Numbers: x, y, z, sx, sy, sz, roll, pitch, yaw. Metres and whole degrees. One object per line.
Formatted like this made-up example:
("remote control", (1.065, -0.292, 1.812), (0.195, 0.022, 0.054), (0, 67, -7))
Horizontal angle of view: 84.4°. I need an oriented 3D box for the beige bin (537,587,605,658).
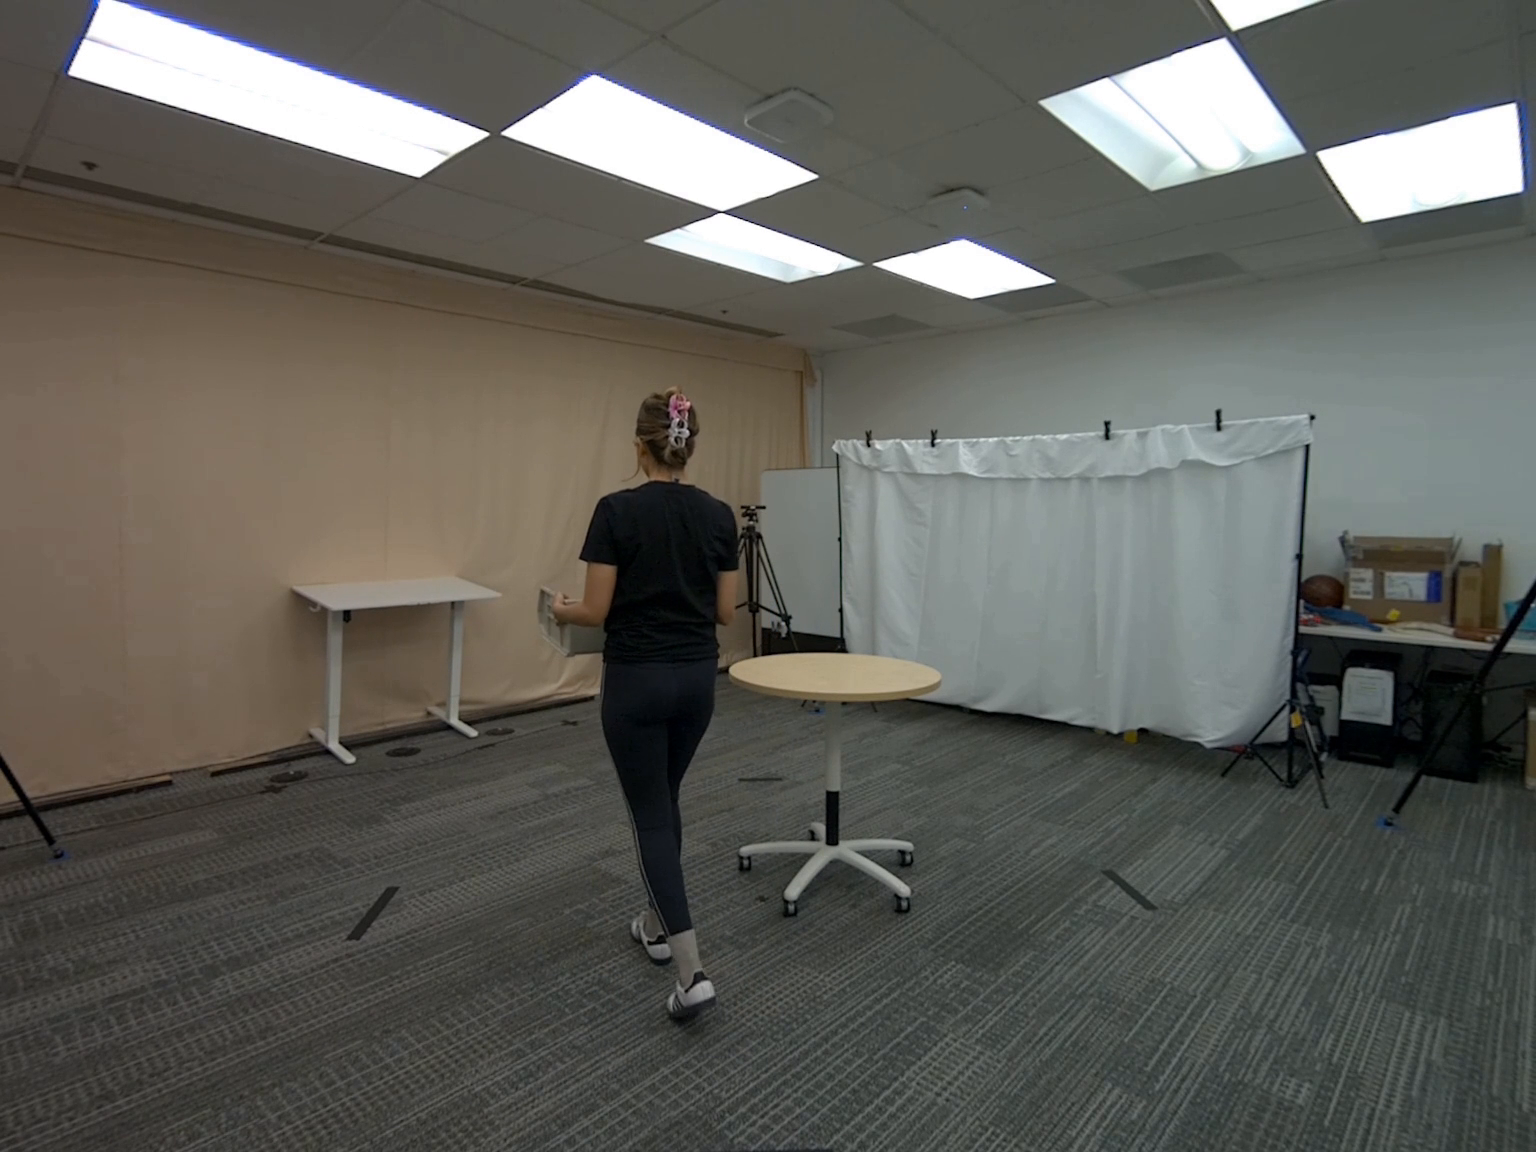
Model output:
("beige bin", (-0.528, 0.139, 2.835), (0.412, 0.188, 0.389), (-1, 9, -27))
